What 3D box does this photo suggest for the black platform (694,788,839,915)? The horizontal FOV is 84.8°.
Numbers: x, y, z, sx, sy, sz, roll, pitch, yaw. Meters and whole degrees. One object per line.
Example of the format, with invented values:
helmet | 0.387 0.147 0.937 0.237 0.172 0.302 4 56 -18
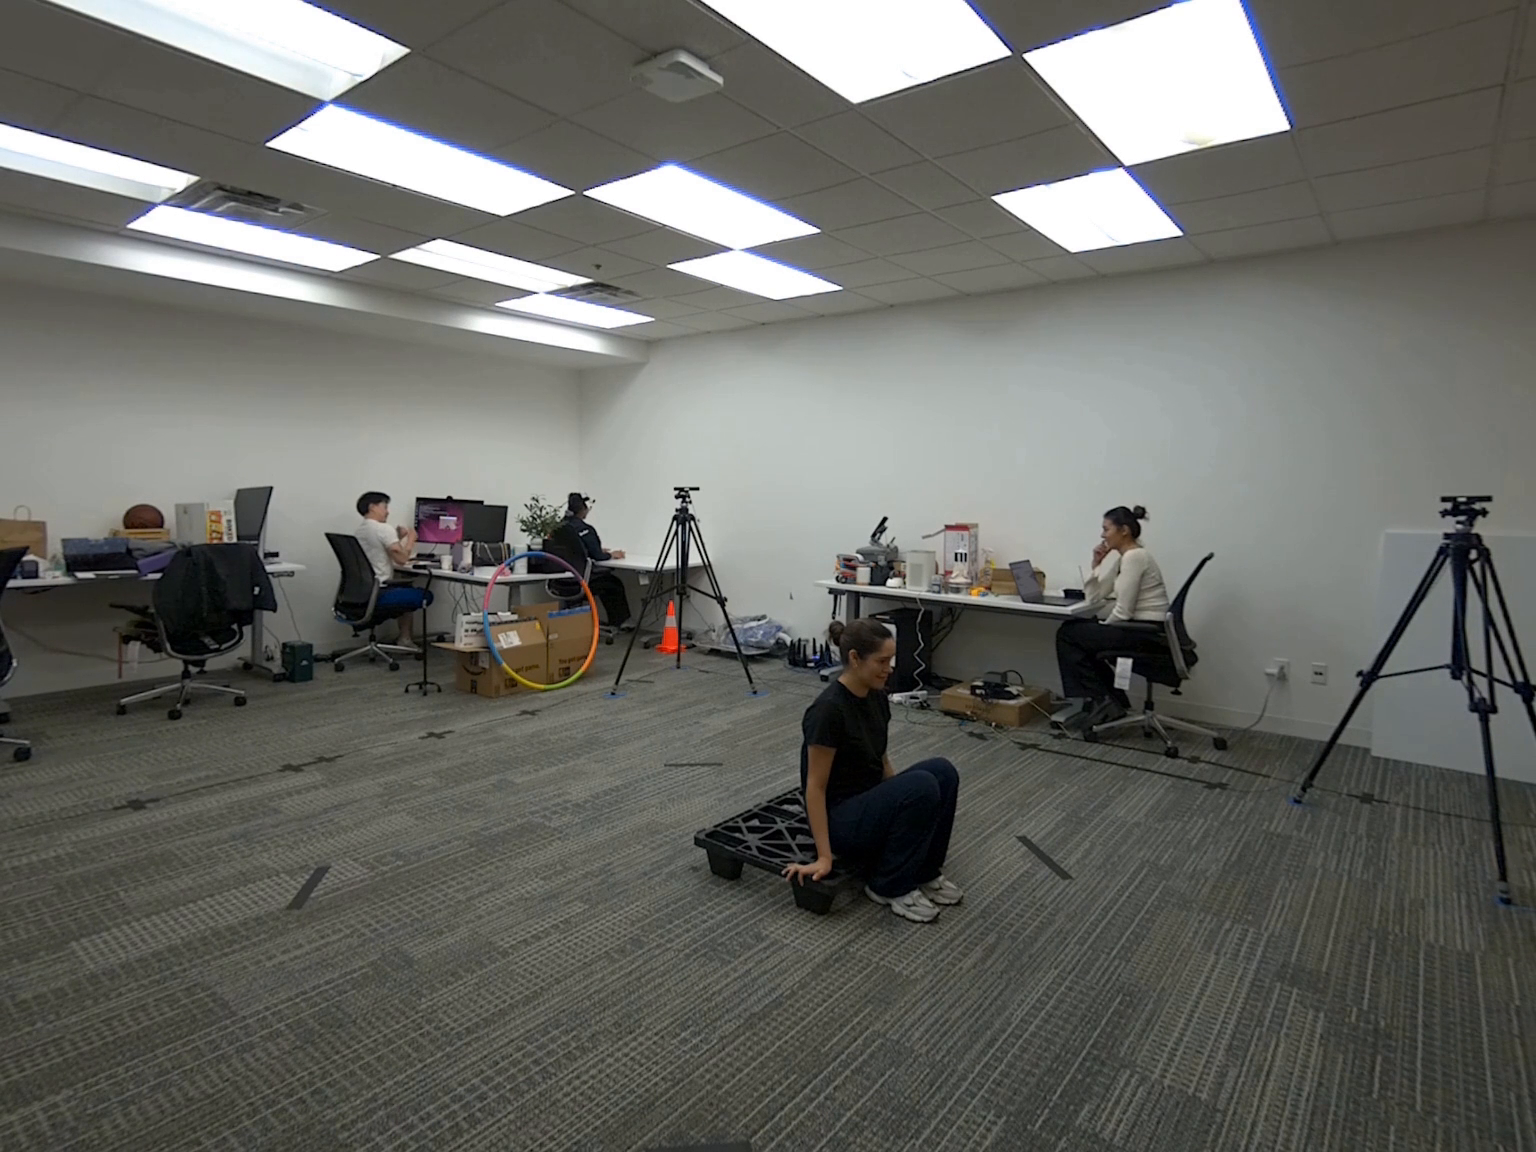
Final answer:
black platform | 0.203 0.996 3.212 0.625 0.143 0.782 5 6 38
